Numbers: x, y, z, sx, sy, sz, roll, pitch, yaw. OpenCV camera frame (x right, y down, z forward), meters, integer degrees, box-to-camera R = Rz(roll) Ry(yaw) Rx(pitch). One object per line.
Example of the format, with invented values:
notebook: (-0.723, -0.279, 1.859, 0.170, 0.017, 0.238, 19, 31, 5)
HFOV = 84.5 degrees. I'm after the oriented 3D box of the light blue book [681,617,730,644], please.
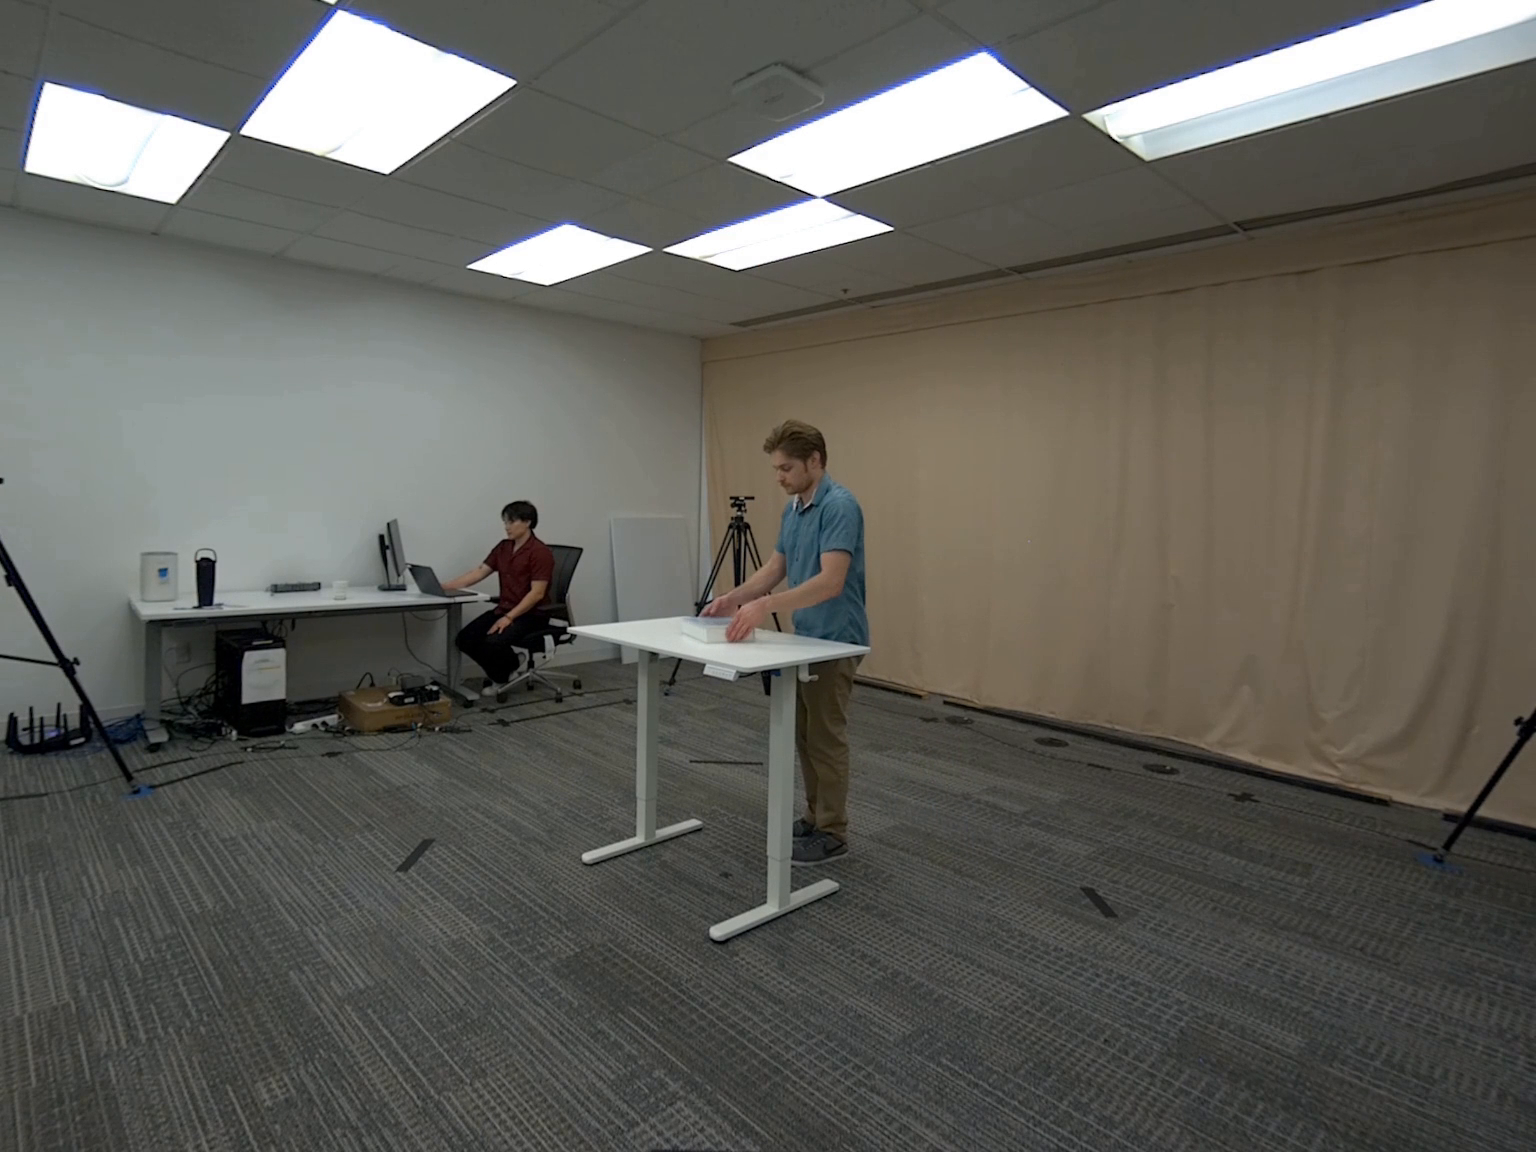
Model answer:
light blue book: (-0.192, 0.197, 3.069, 0.188, 0.059, 0.266, 0, 4, -23)
